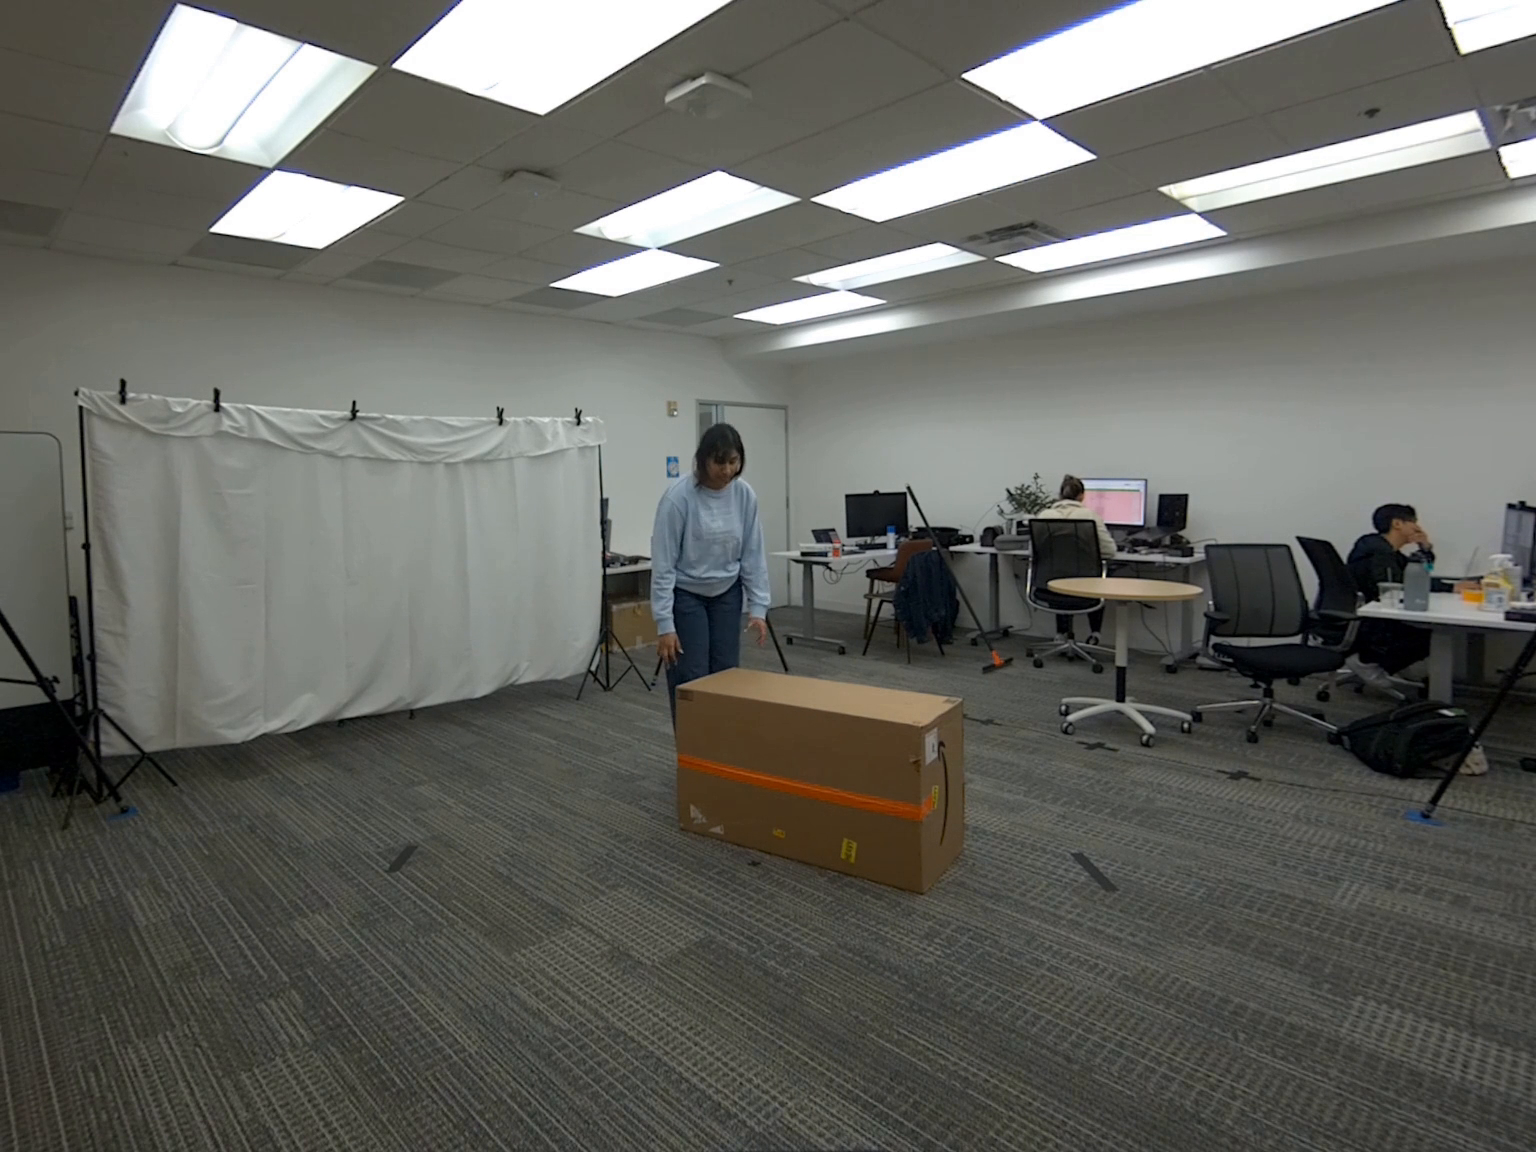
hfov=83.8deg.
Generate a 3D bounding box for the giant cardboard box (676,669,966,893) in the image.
[{"bbox_3d":[0.186,0.735,3.282,1.056,0.582,0.436,3,5,34],"label":"giant cardboard box"}]
